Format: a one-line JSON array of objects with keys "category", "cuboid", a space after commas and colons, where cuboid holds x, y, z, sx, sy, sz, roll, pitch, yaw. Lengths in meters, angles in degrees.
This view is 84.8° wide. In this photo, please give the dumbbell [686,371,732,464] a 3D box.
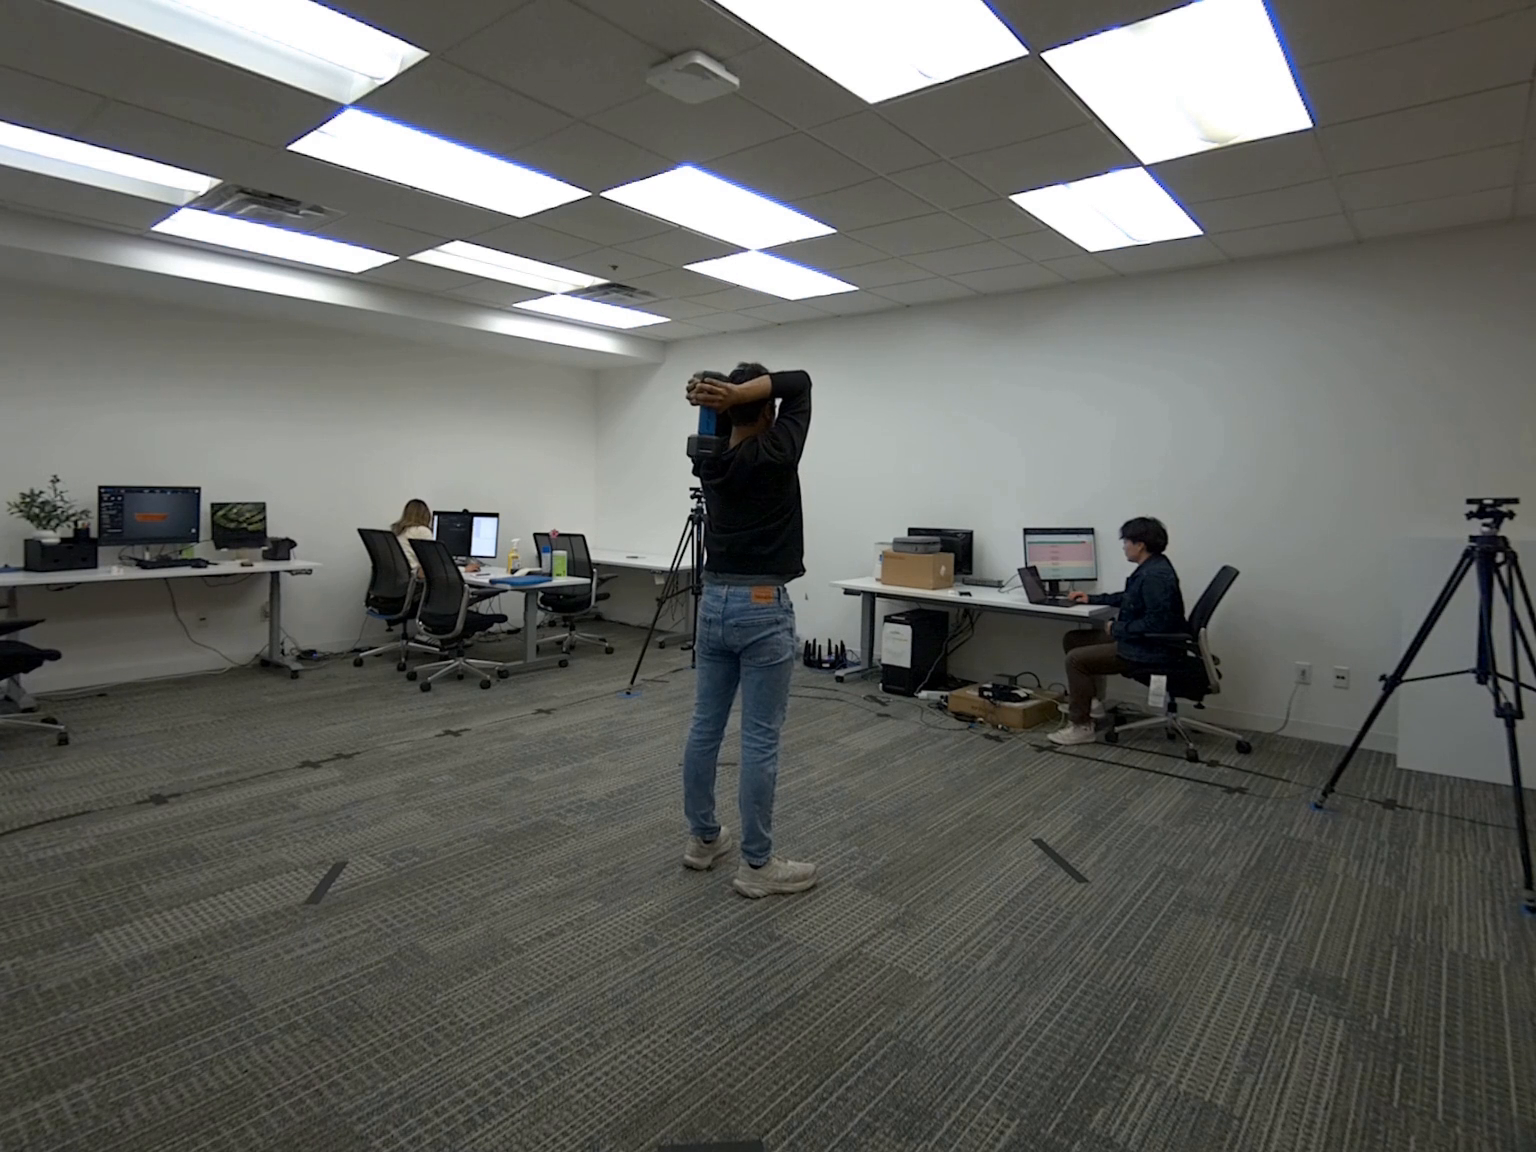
[{"category": "dumbbell", "cuboid": [-0.213, -0.547, 2.890, 0.127, 0.293, 0.105, 9, 3, 44]}]
